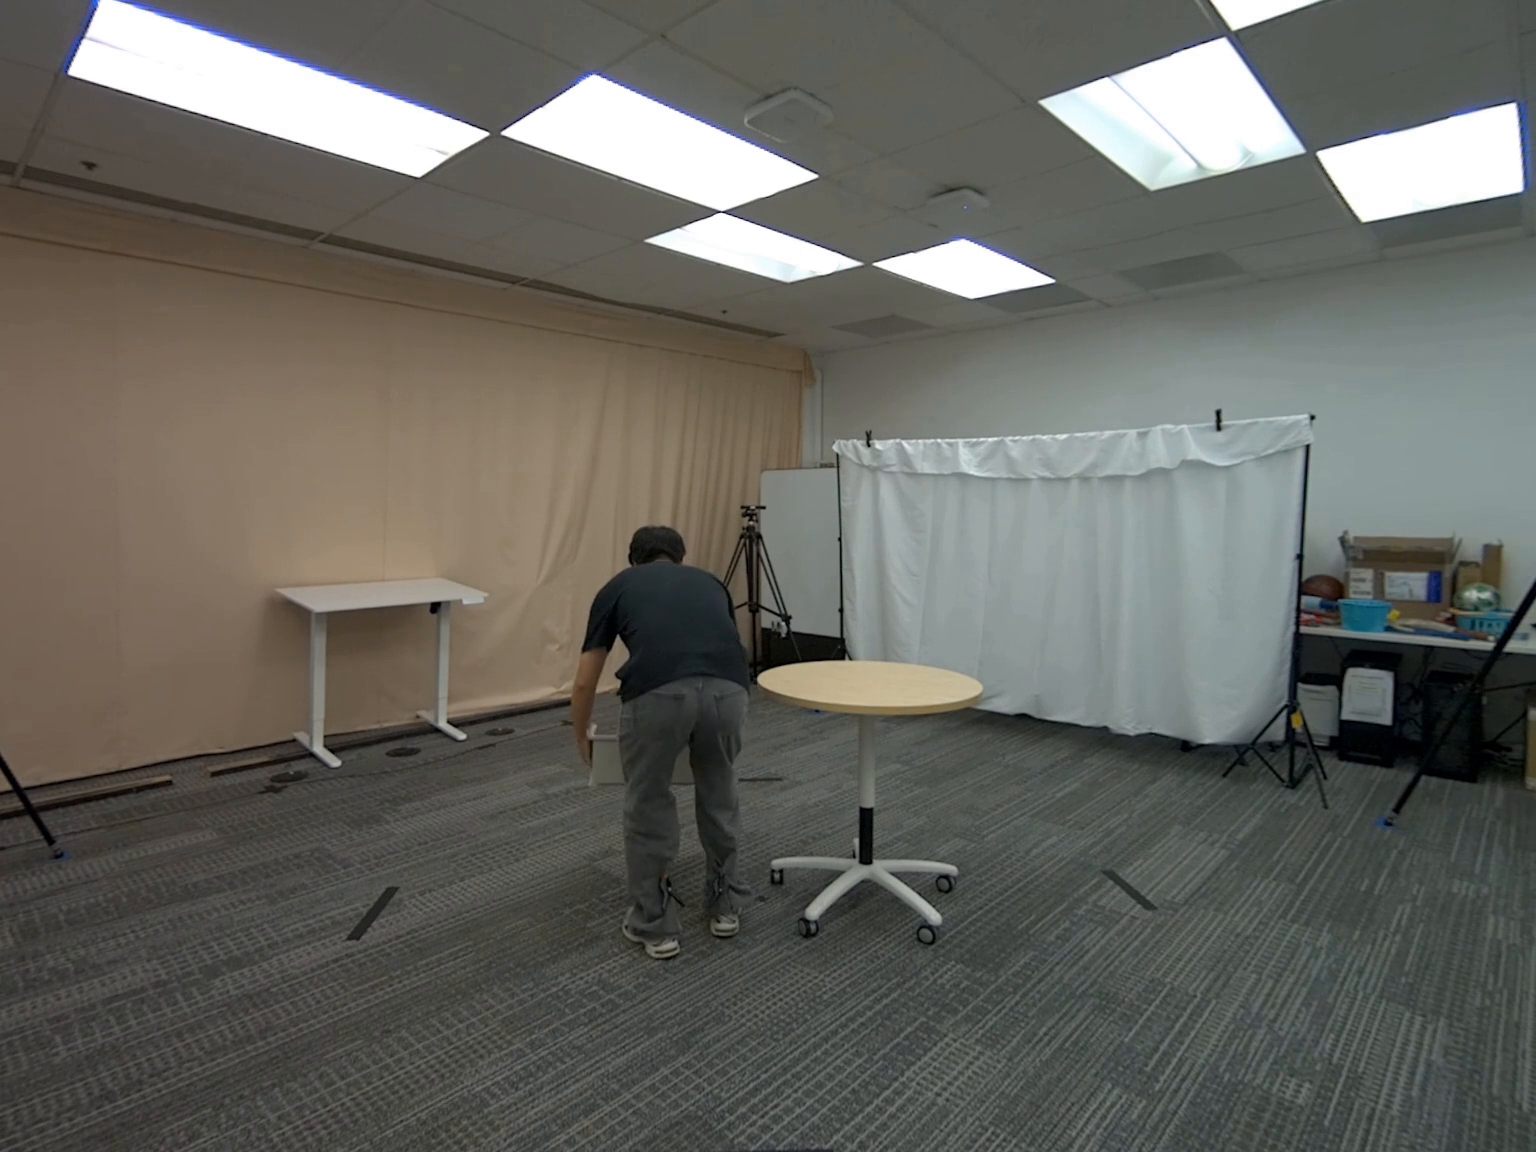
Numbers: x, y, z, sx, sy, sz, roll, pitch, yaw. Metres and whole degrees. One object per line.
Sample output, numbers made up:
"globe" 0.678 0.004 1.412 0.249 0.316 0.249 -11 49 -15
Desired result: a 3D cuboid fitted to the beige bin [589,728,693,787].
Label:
"beige bin" -0.447 0.660 3.134 0.419 0.189 0.380 1 1 -7
